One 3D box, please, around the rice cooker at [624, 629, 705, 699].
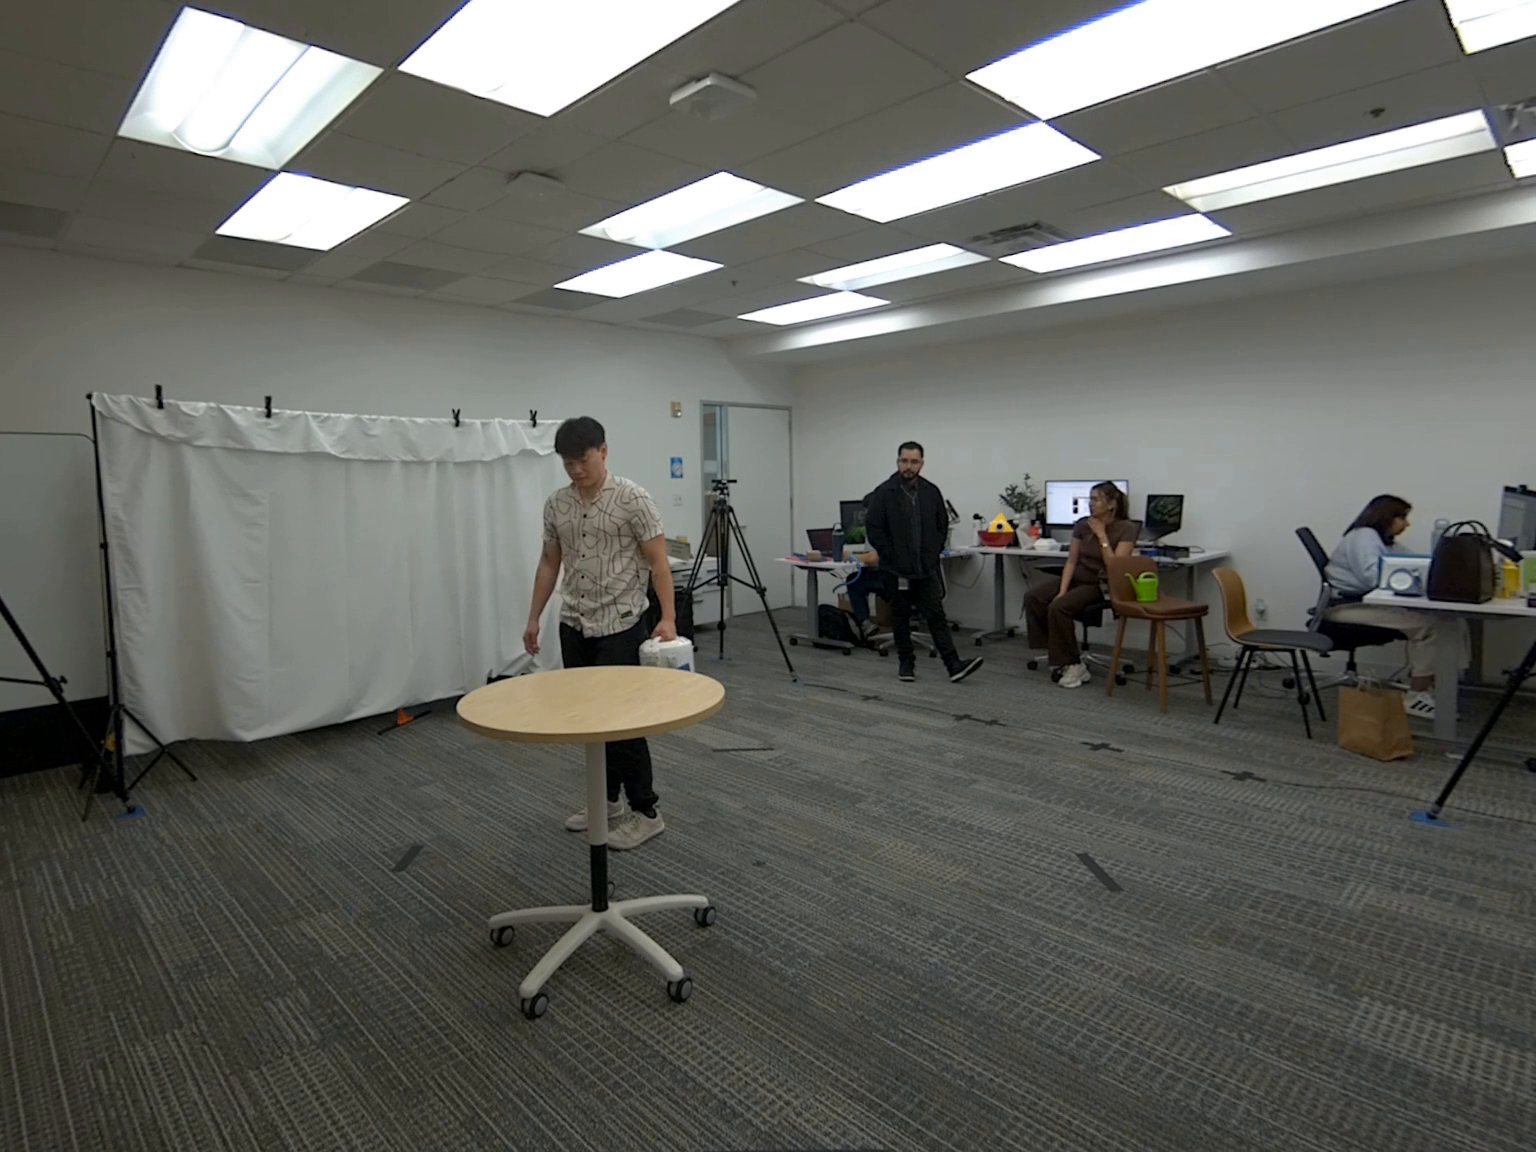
[{"bbox_3d":[-0.409,0.338,3.354,0.222,0.233,0.216,-4,1,28],"label":"rice cooker"}]
